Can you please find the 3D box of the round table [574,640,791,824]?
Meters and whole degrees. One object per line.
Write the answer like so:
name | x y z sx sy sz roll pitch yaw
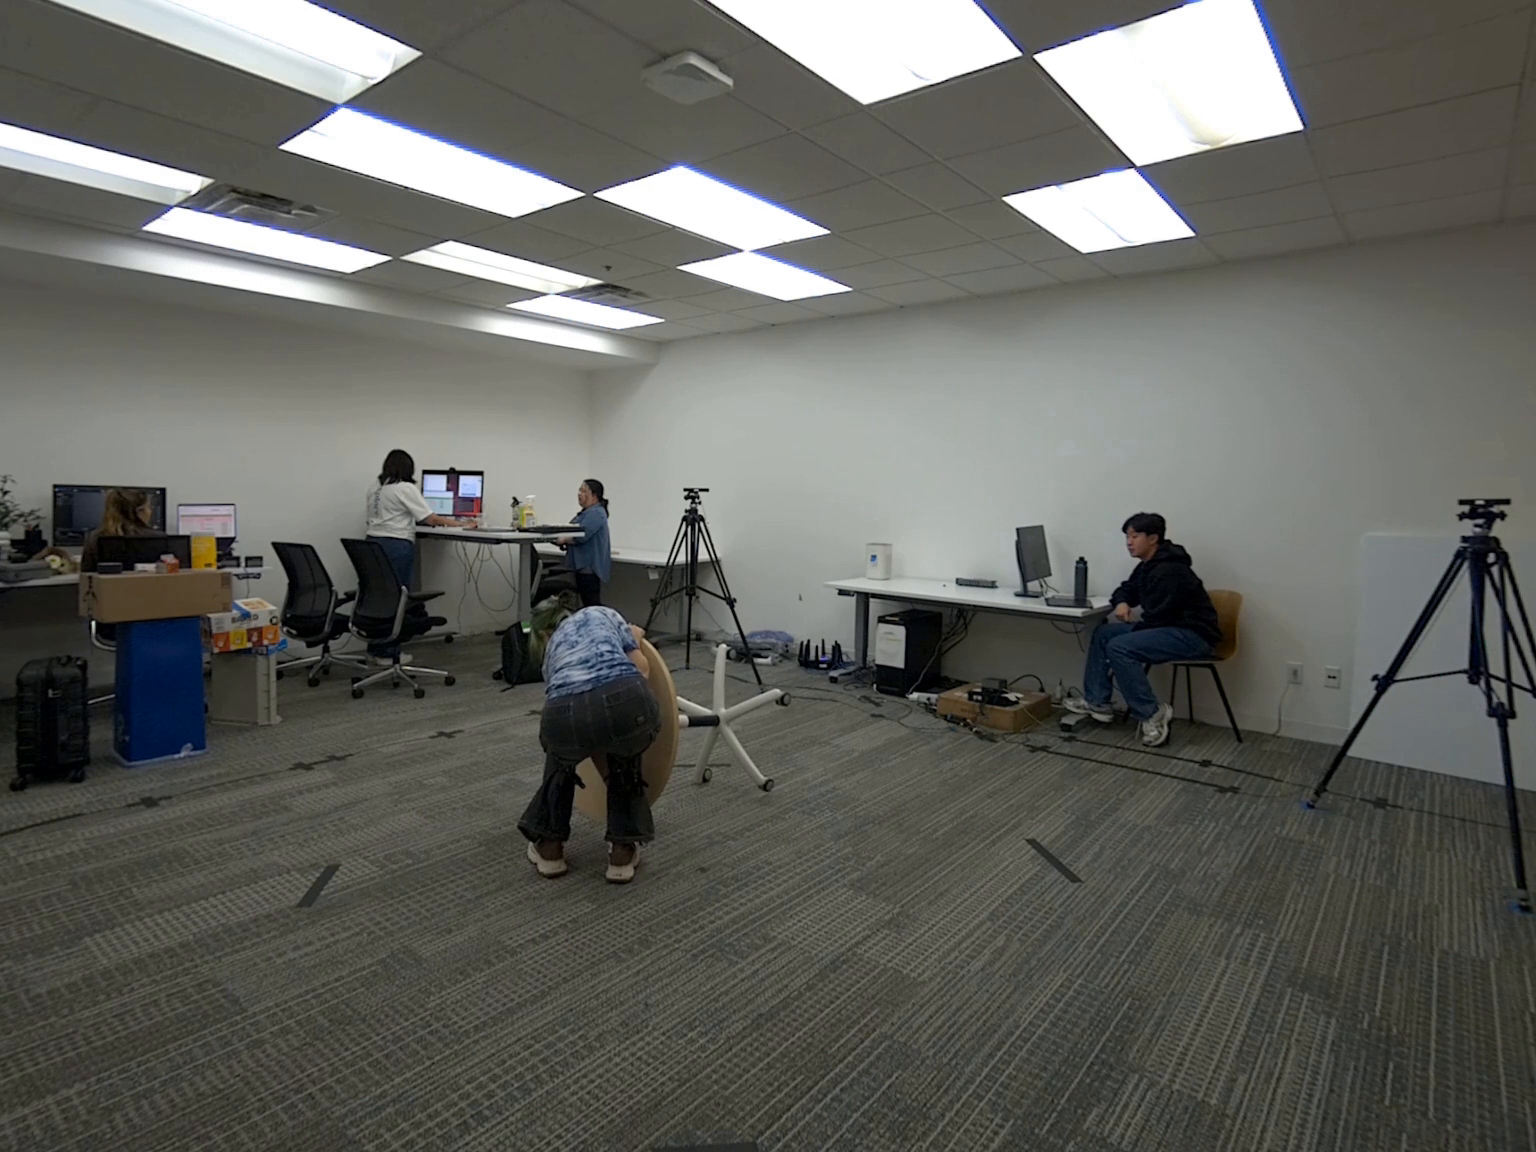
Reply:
round table | -0.414 0.638 3.728 0.790 0.766 0.765 4 -4 41
